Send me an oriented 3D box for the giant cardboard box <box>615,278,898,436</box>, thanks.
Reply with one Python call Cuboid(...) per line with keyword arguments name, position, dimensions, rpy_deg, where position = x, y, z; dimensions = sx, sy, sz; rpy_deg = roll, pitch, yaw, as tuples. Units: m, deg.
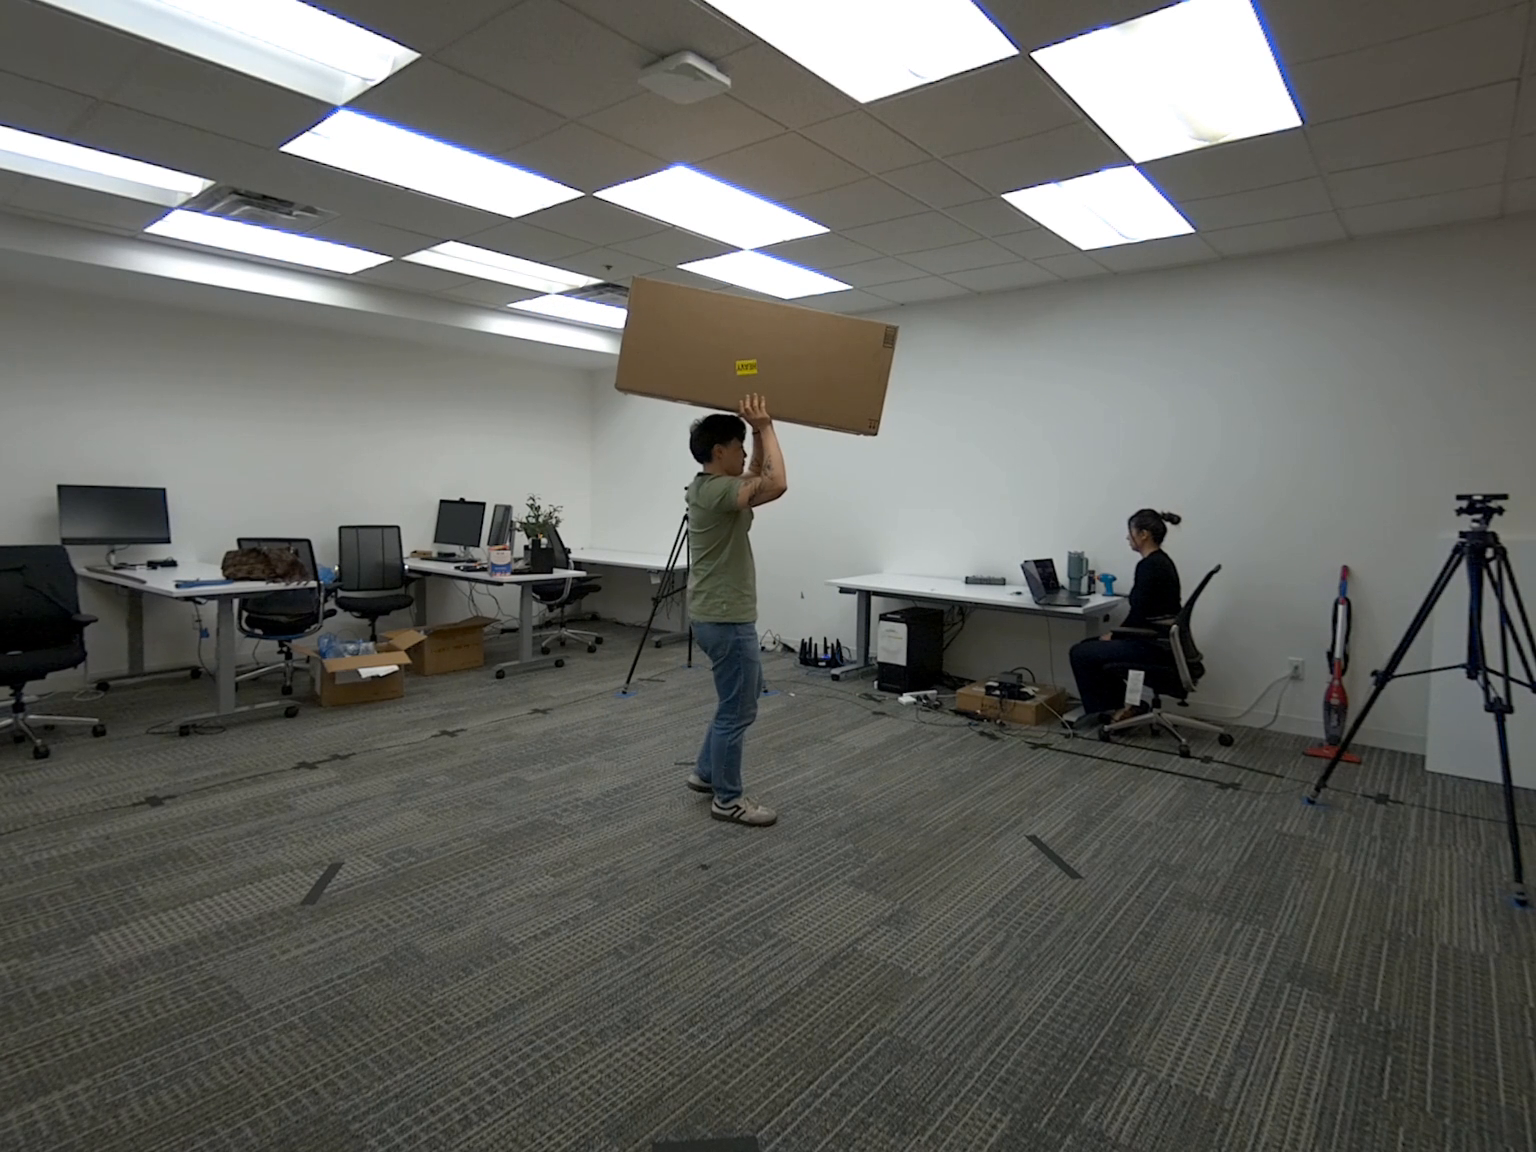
Cuboid(name="giant cardboard box", position=(-0.078, -0.878, 3.491), dimensions=(1.021, 0.423, 0.584), rpy_deg=(10, 9, -4))
